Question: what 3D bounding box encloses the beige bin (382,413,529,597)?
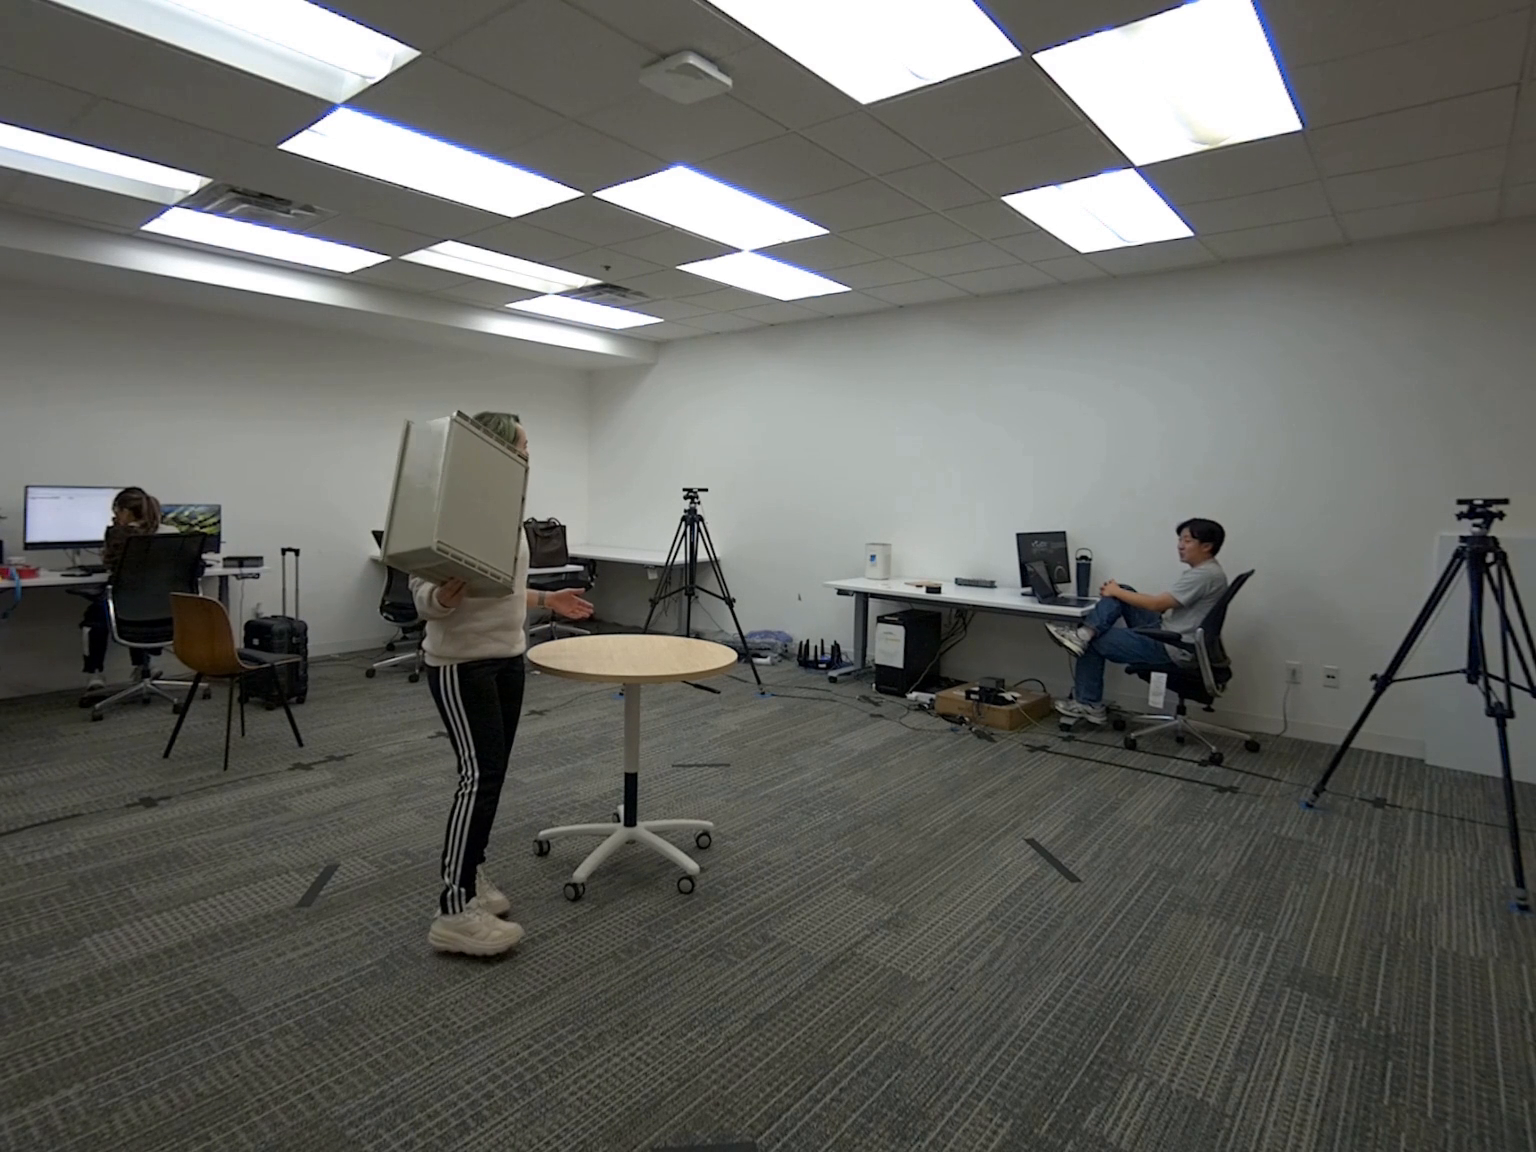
[{"bbox_3d":[-0.863,-0.187,2.382,0.192,0.431,0.363,-9,-23,21],"label":"beige bin"}]
